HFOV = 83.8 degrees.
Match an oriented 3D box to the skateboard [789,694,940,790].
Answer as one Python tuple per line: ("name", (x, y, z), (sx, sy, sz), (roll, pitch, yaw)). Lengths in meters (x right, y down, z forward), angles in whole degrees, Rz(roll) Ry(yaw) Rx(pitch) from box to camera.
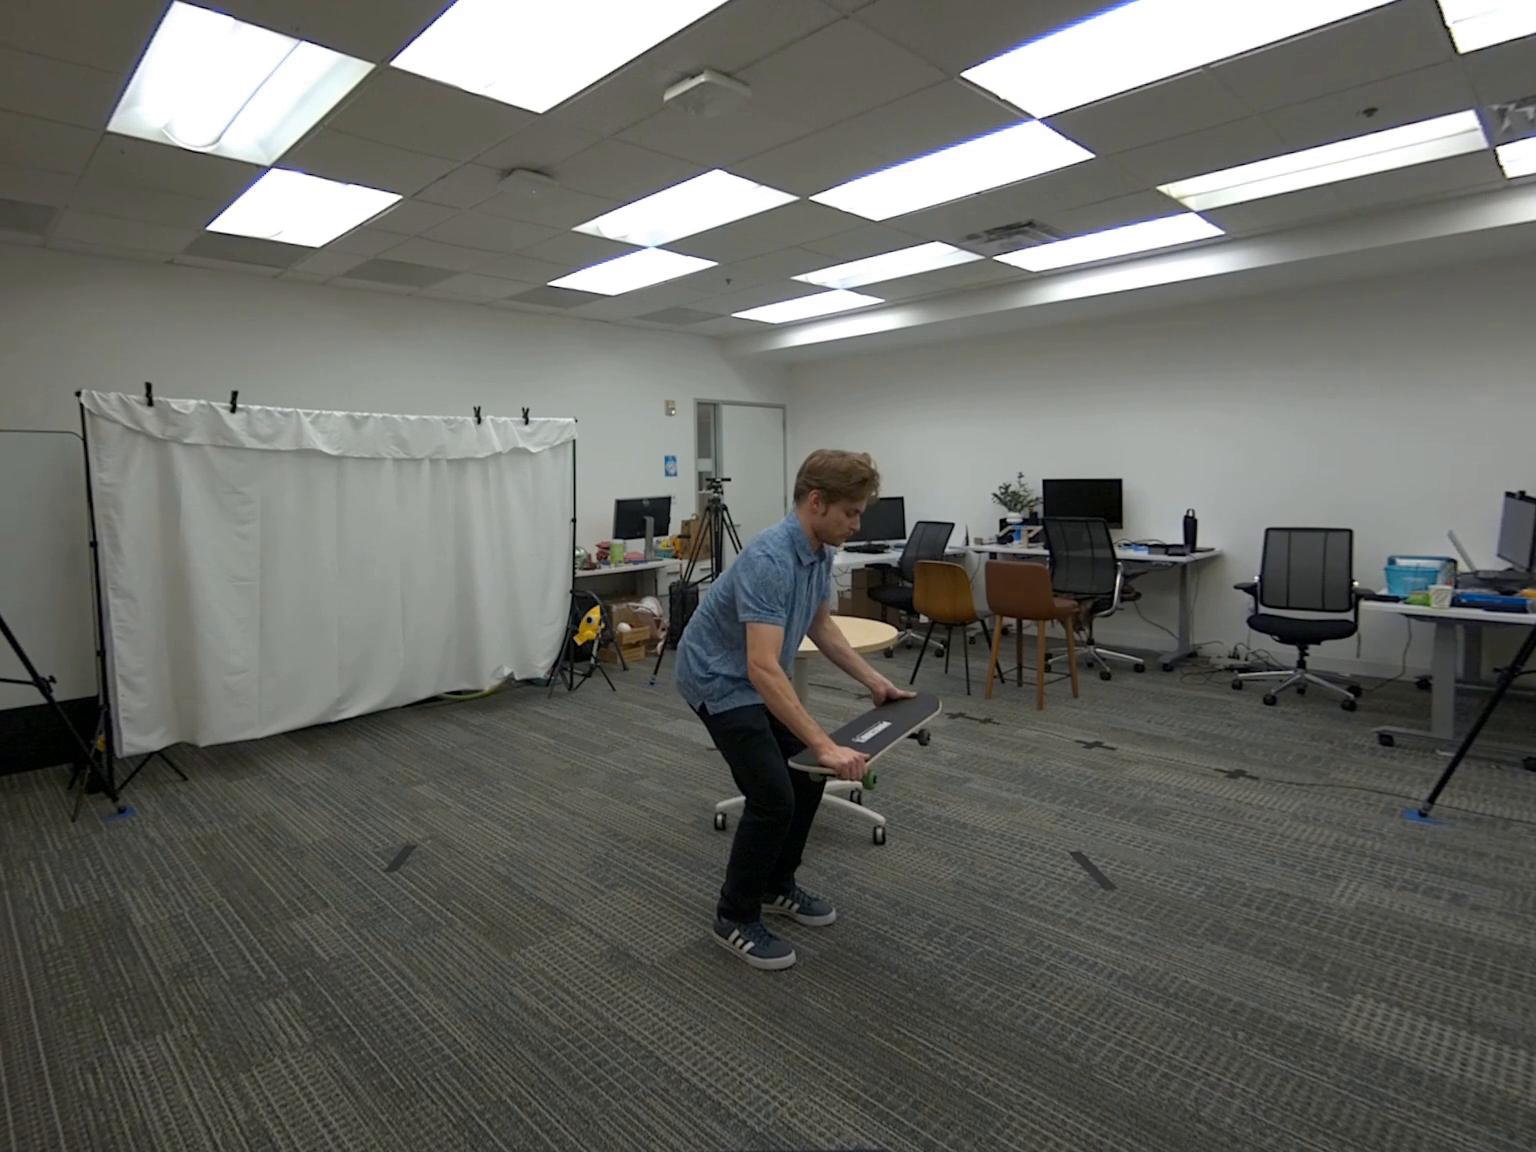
("skateboard", (0.304, 0.479, 2.407), (0.198, 0.110, 0.768), (-1, 6, 32))
